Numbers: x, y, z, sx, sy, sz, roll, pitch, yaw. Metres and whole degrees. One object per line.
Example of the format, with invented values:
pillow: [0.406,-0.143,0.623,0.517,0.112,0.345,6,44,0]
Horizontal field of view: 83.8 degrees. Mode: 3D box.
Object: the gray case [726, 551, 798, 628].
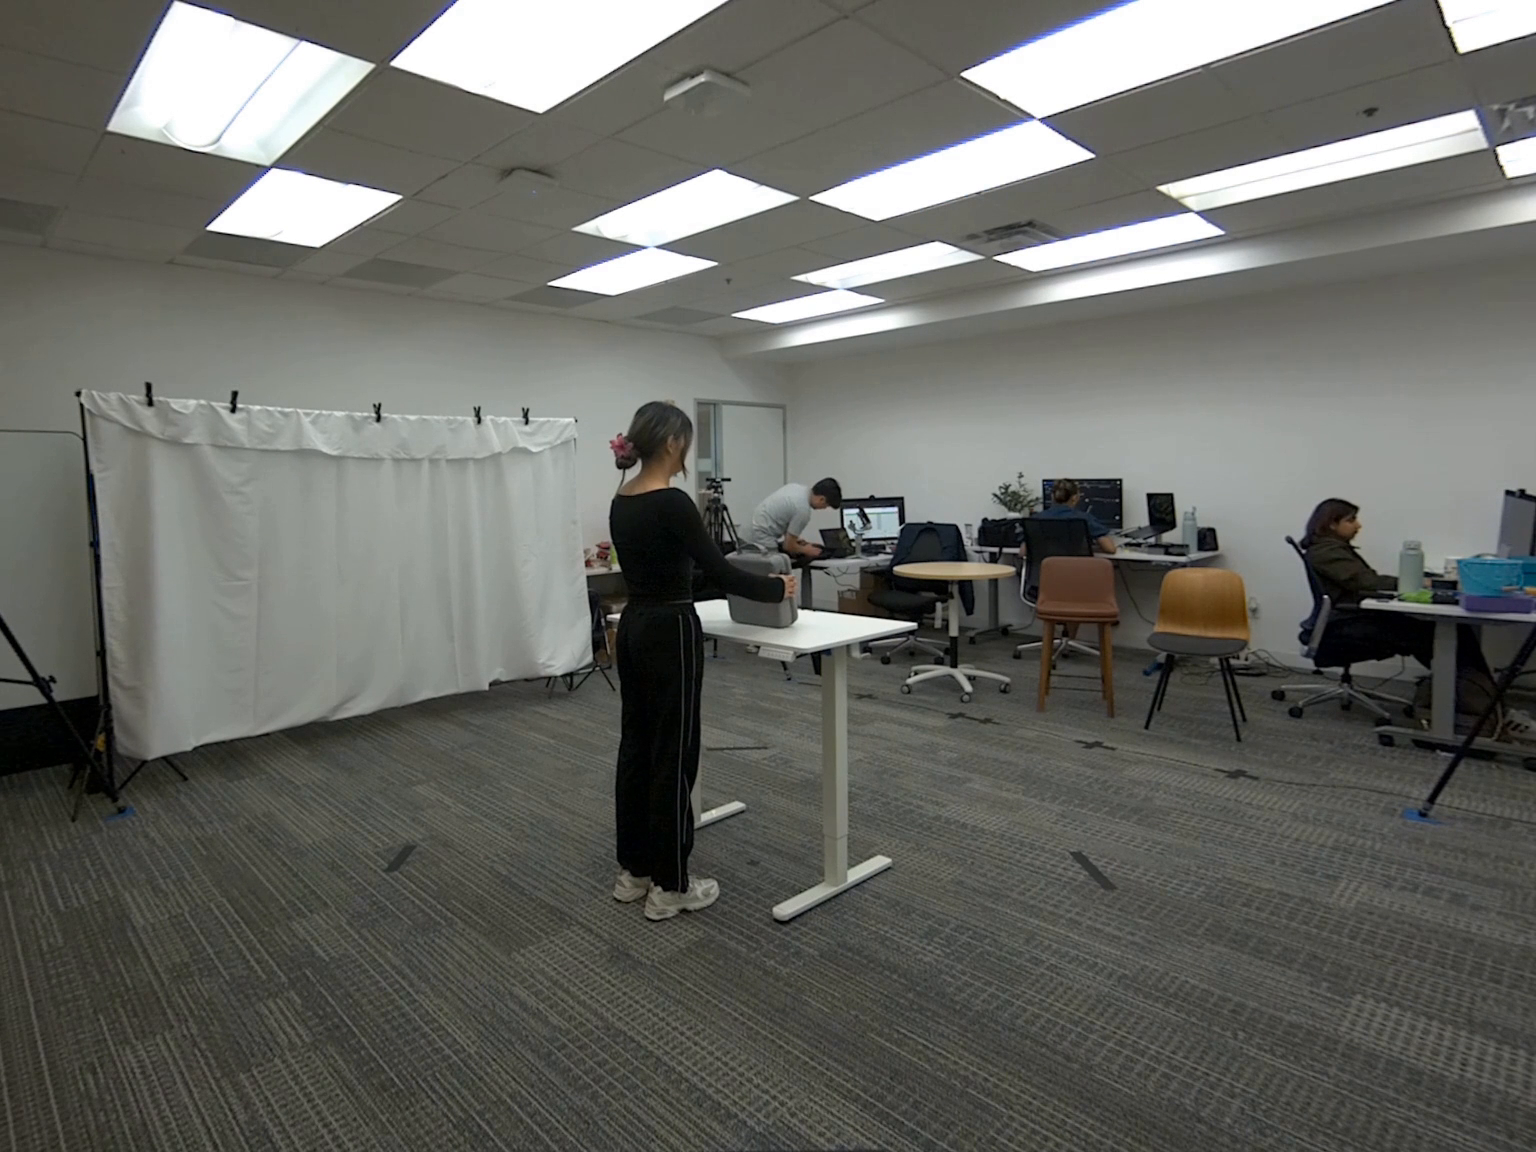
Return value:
gray case: [-0.029,0.042,2.972,0.265,0.258,0.102,3,15,45]
